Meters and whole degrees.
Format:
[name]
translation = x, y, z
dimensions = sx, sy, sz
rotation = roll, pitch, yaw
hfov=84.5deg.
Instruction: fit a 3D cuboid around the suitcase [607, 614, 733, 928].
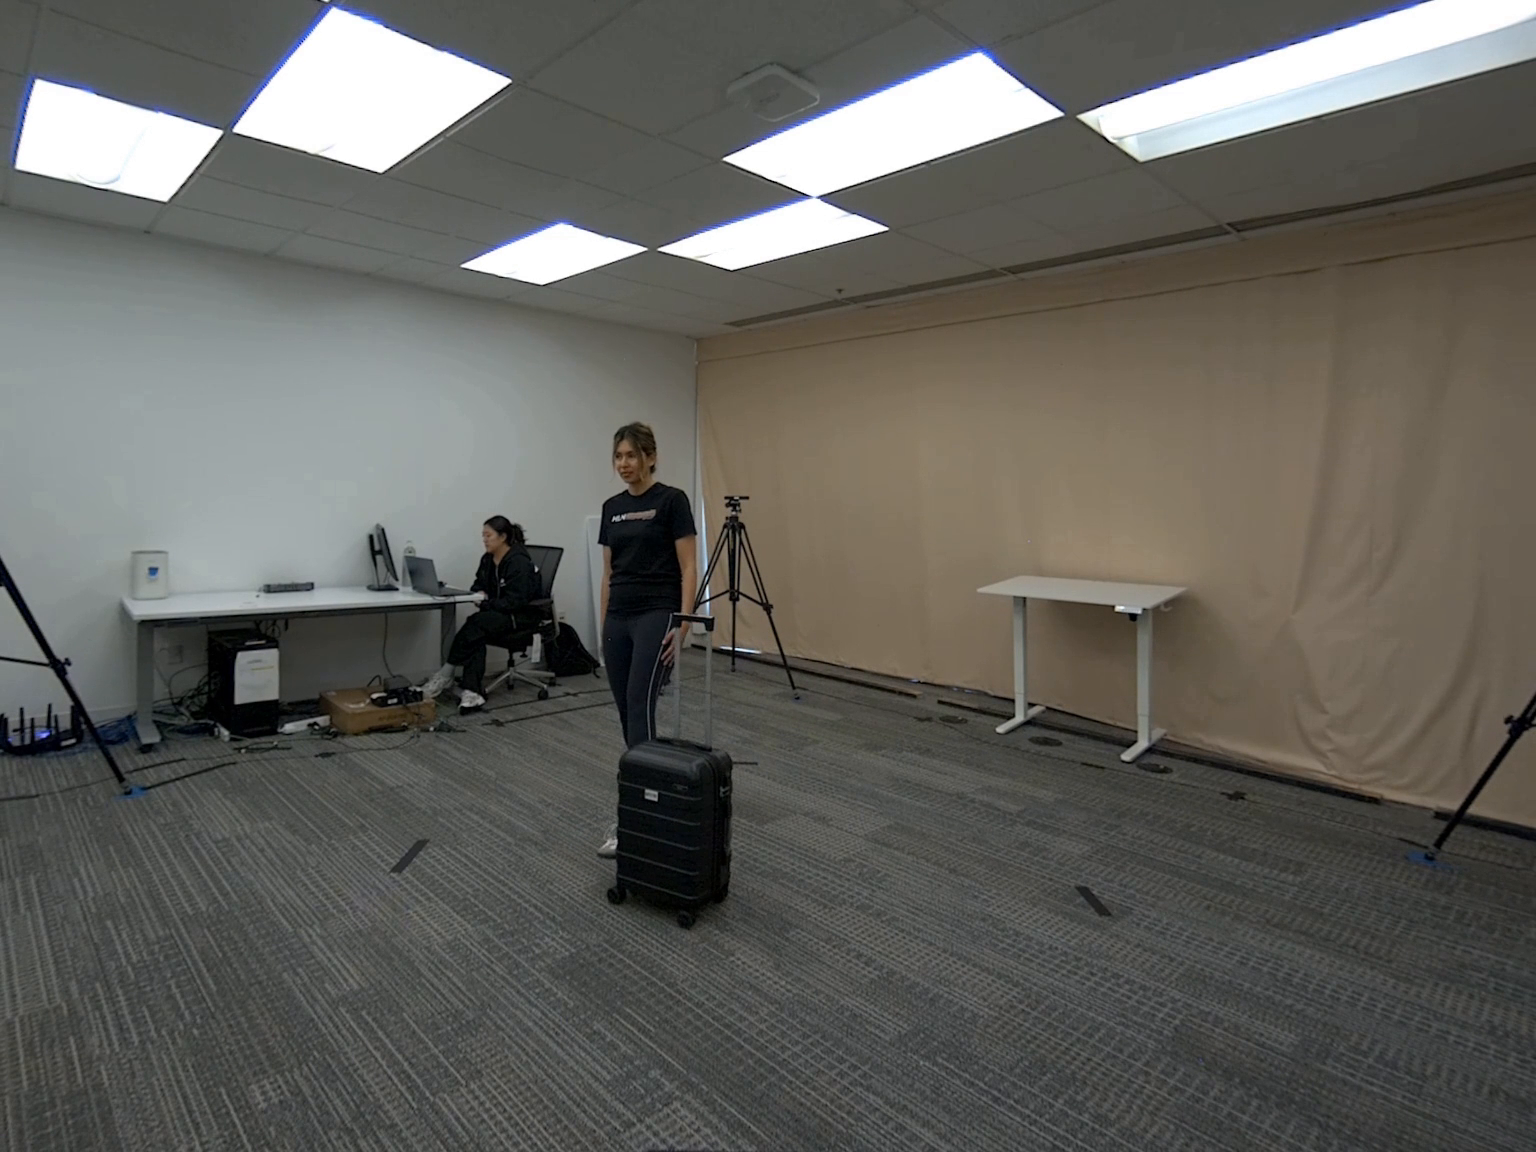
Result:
[suitcase]
translation = -0.316, 0.652, 2.847
dimensions = 0.392, 0.975, 0.253
rotation = 4, 6, 27
